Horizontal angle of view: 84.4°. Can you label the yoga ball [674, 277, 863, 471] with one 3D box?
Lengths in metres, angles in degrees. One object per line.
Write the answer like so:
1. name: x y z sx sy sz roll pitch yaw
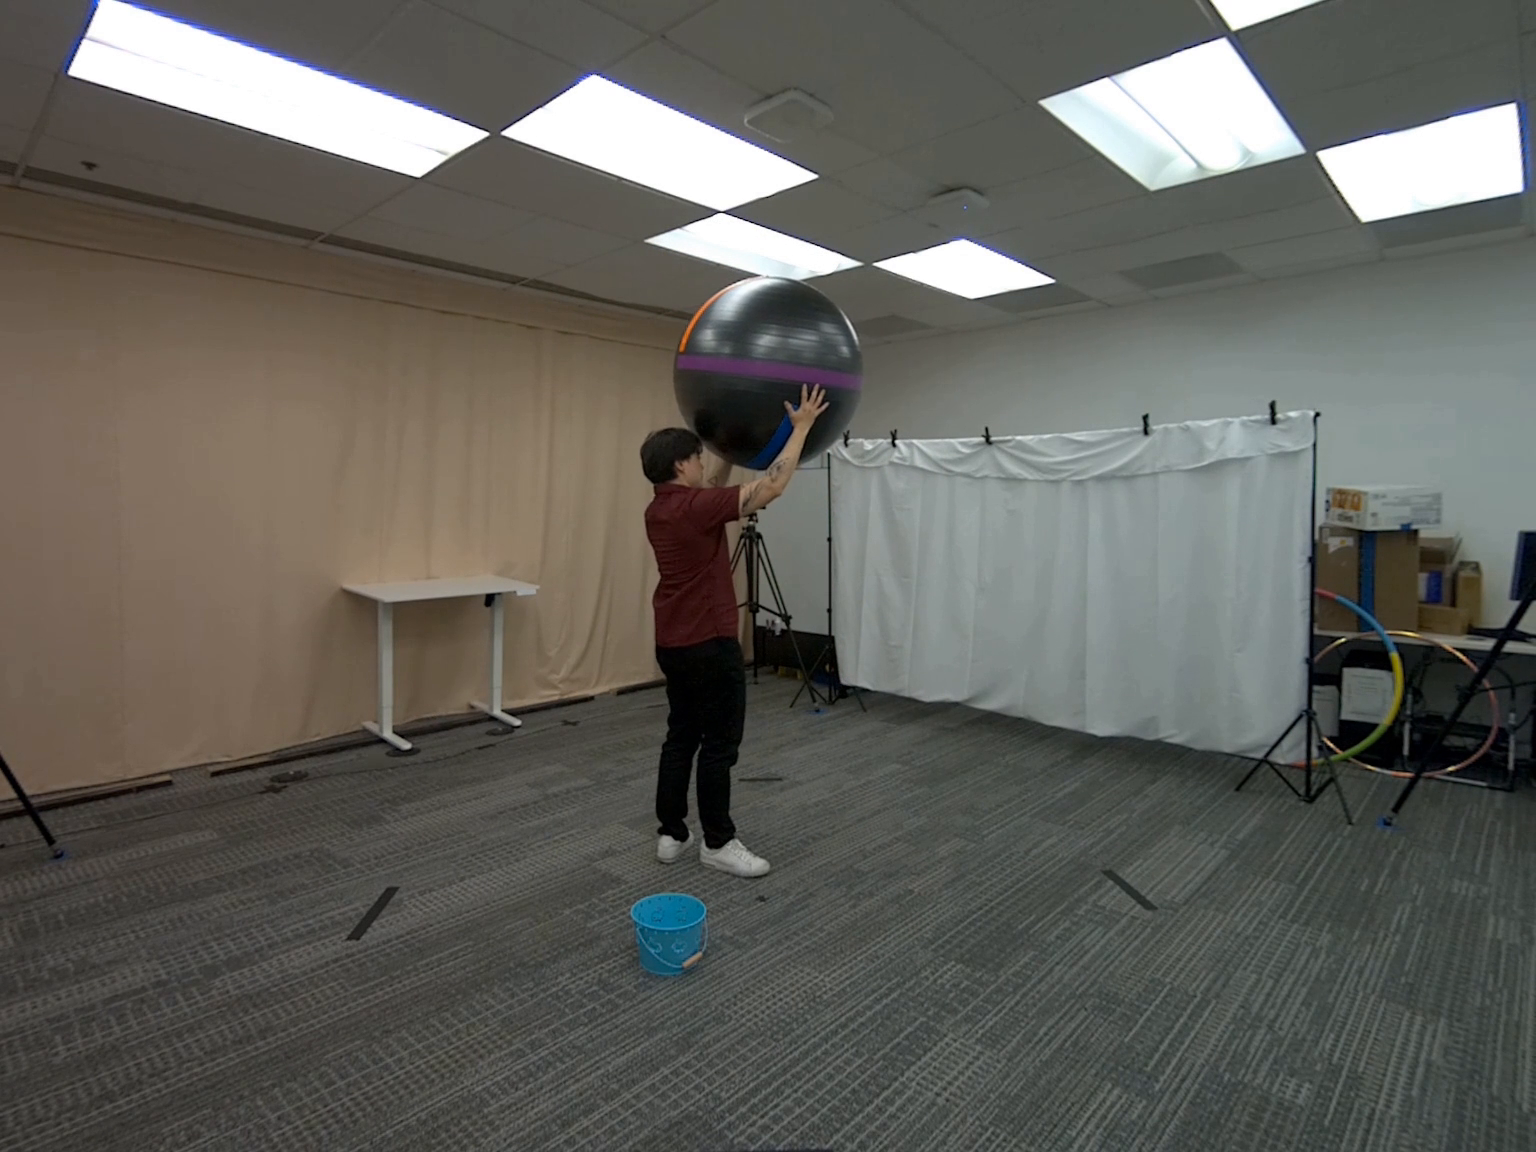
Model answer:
1. yoga ball: -0.001 -0.802 3.397 0.757 0.756 0.760 0 4 -2
